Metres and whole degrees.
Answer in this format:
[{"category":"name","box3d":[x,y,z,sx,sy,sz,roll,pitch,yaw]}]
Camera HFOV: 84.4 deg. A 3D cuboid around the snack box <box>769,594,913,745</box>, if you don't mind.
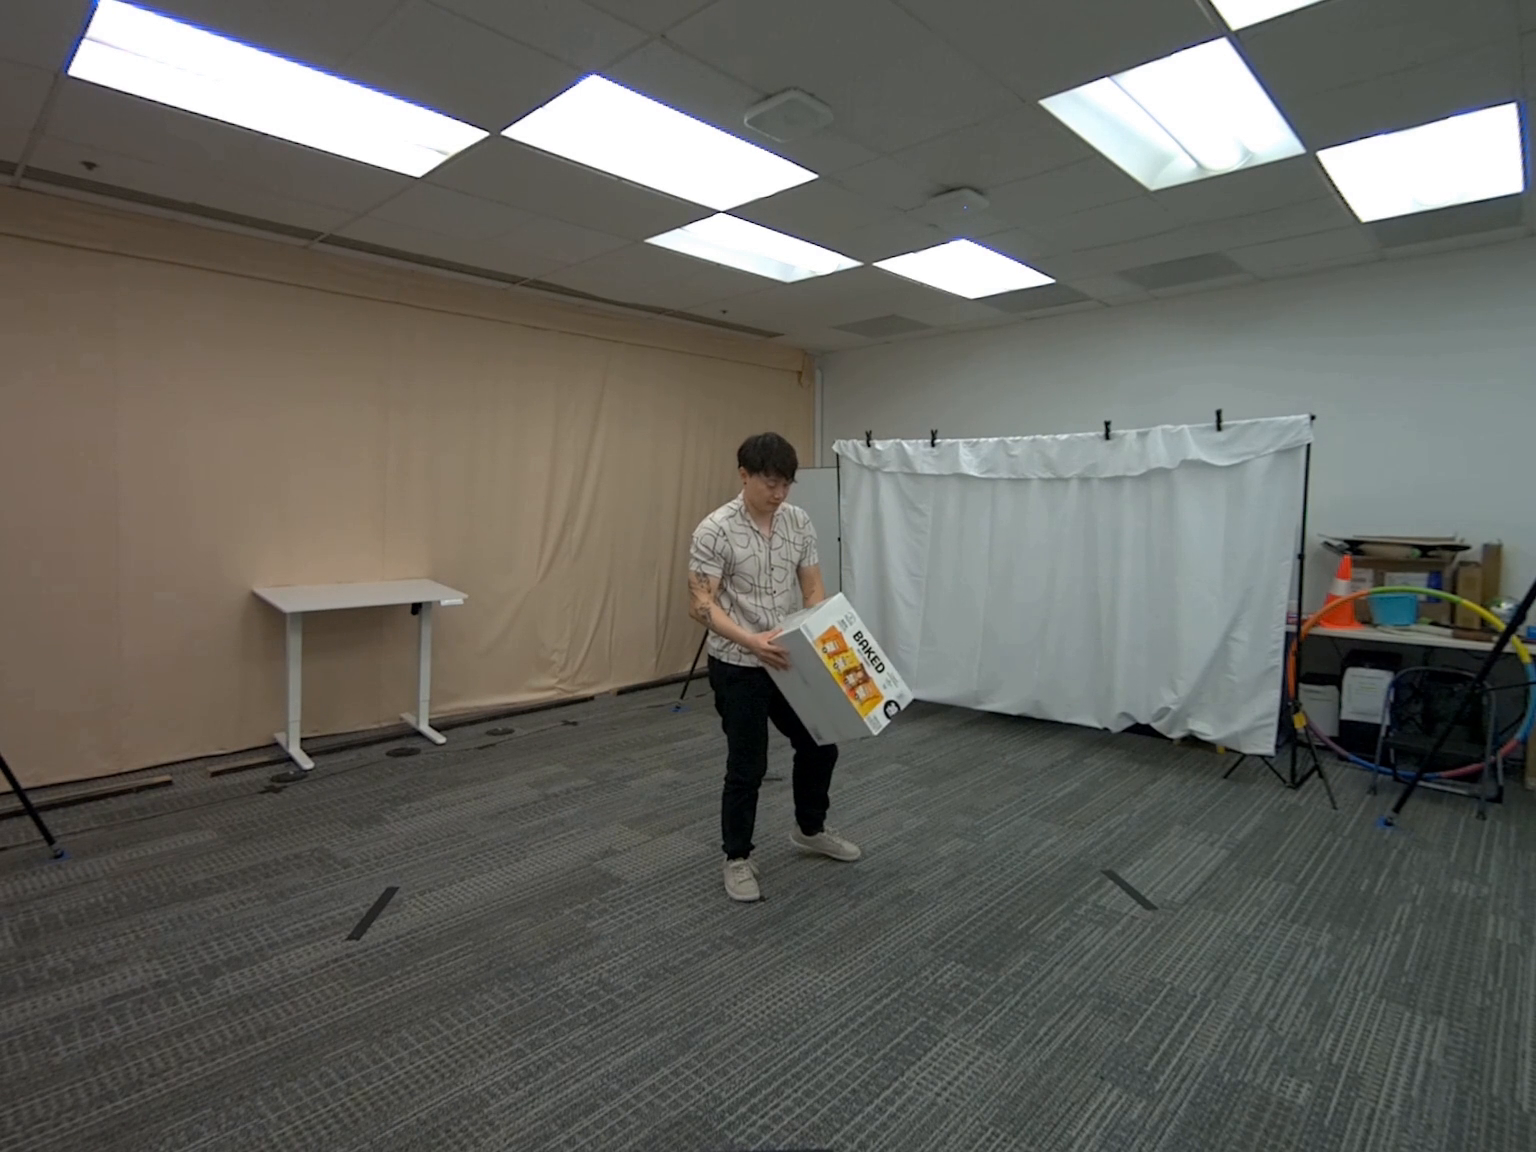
[{"category":"snack box","box3d":[0.212,0.313,2.729,0.203,0.405,0.345,-36,2,-32]}]
